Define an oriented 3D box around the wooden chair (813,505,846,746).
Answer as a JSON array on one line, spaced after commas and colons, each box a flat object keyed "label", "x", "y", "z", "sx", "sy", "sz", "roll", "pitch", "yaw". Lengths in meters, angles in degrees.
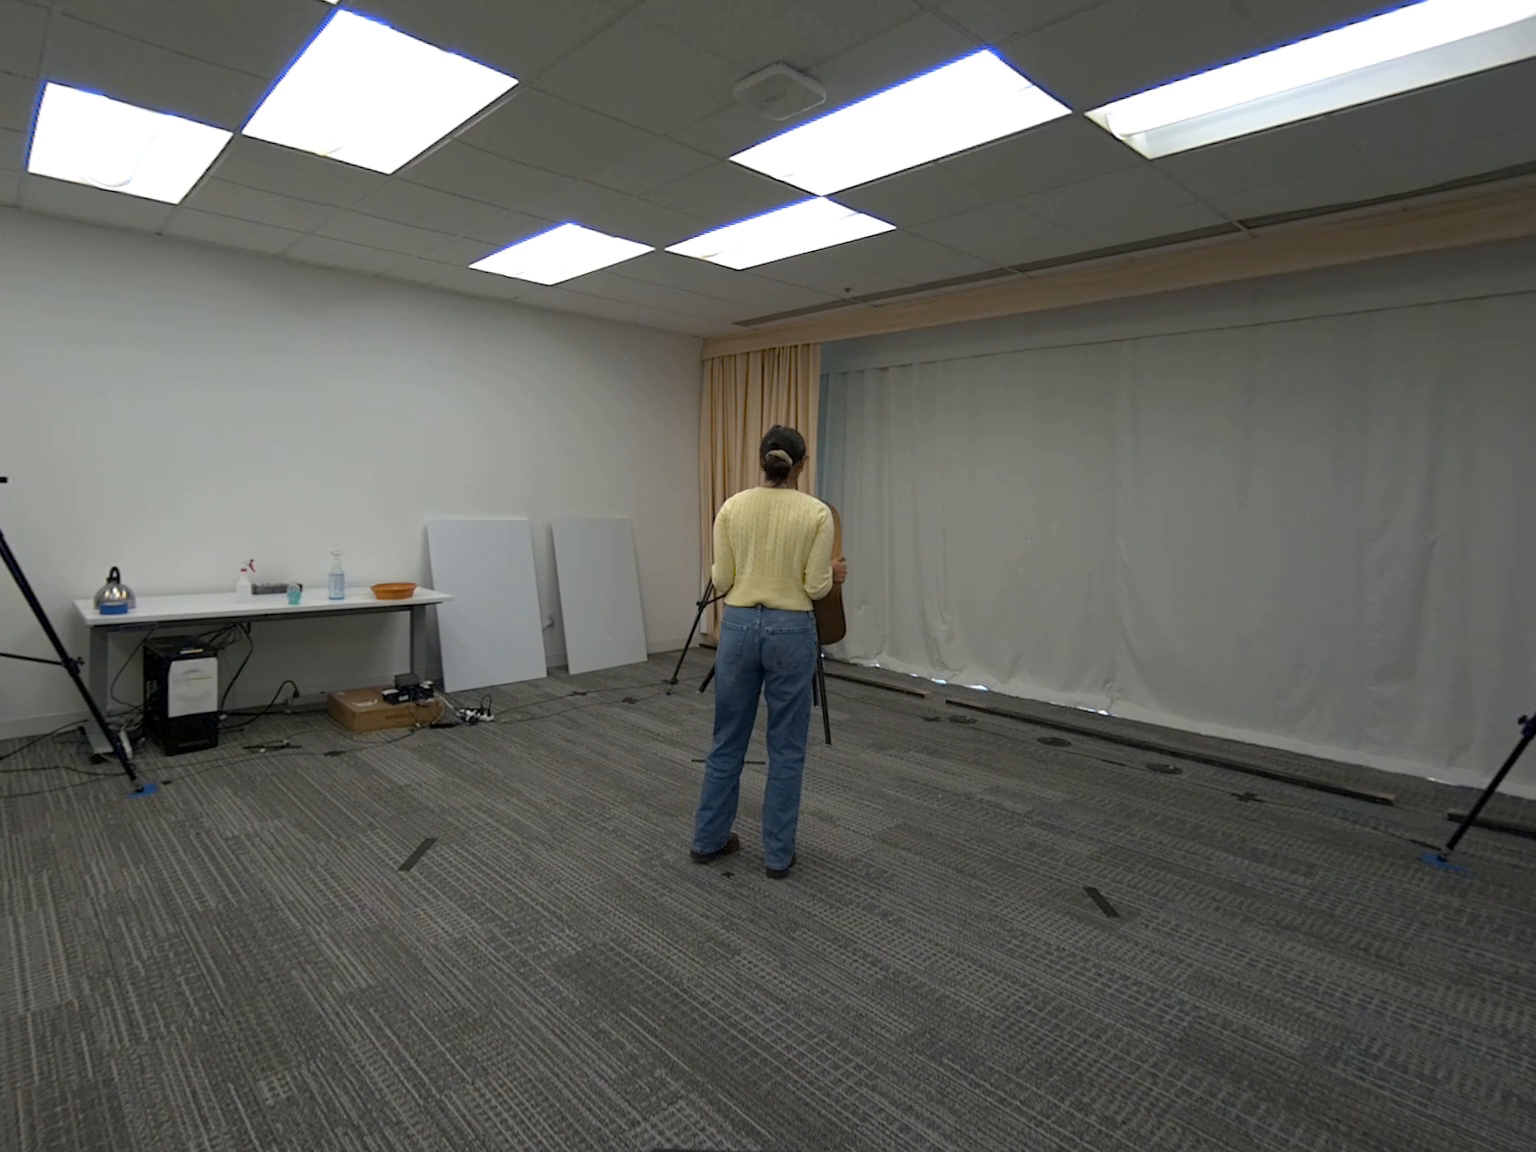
[{"label": "wooden chair", "x": 0.067, "y": 0.184, "z": 3.400, "sx": 0.484, "sy": 0.889, "sz": 0.510, "roll": 3, "pitch": -24, "yaw": 14}]
